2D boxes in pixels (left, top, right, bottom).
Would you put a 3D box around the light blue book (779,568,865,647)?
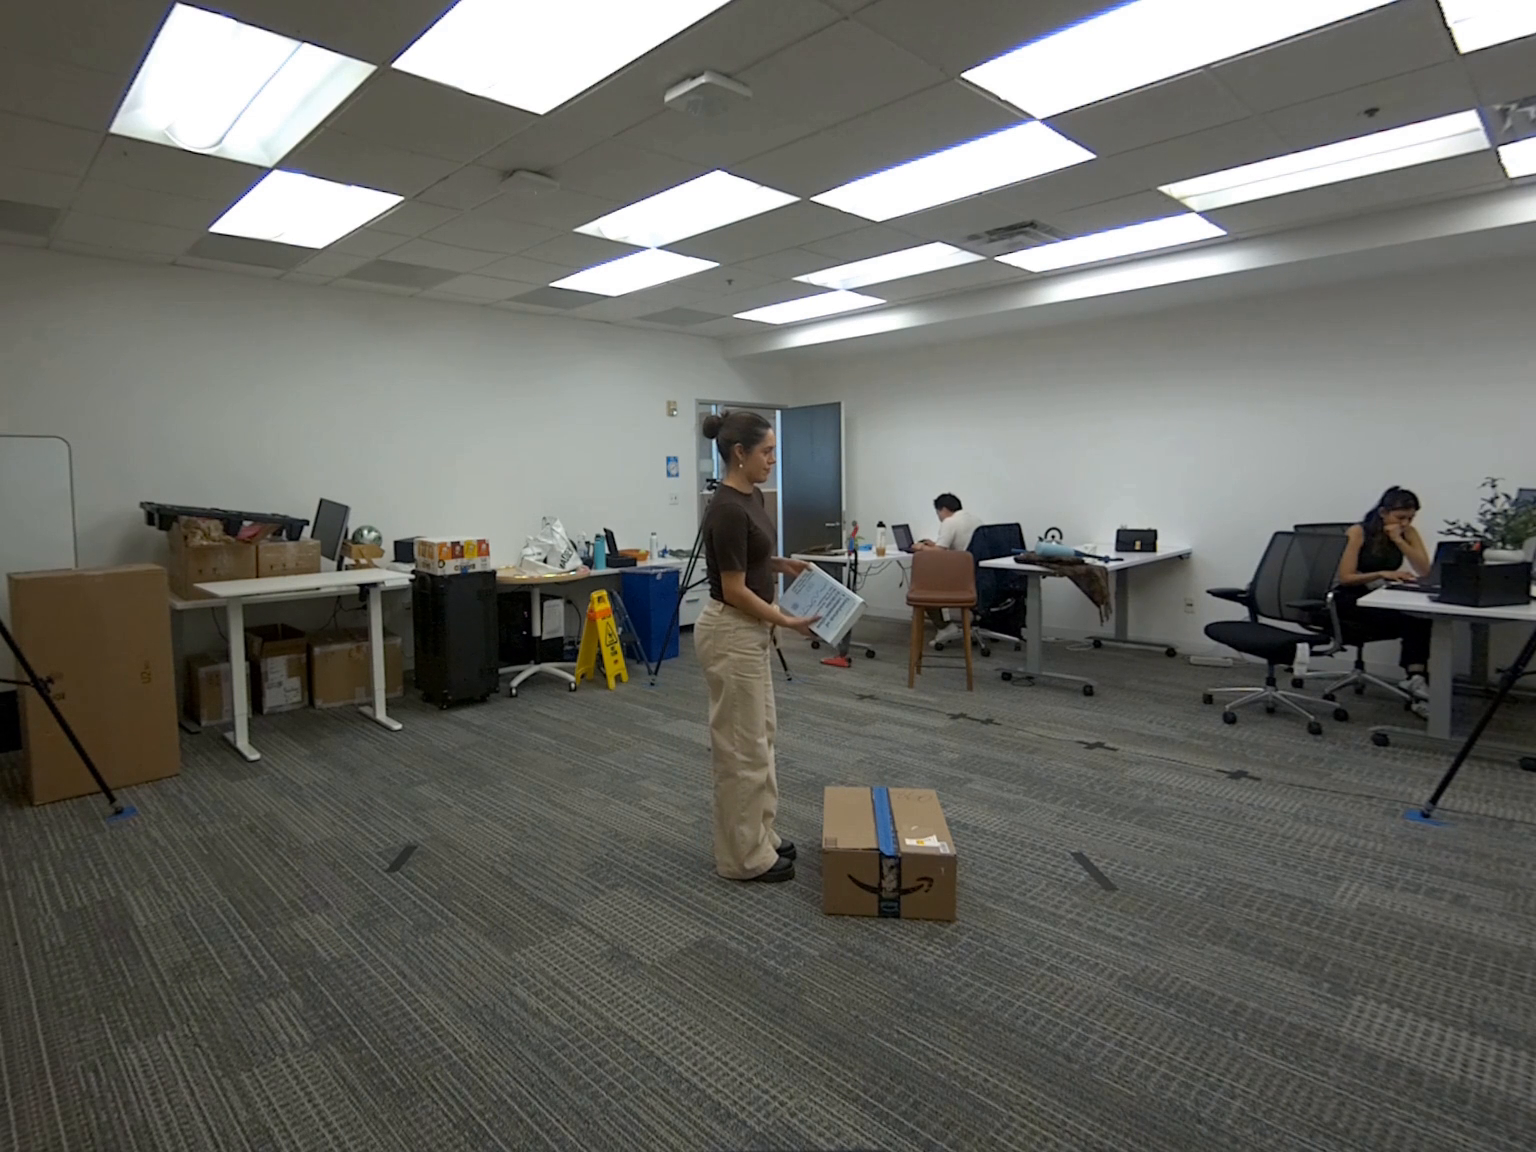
[{"bbox_3d":[0.192,0.095,2.966,0.271,0.191,0.057,38,-3,36],"label":"light blue book"}]
